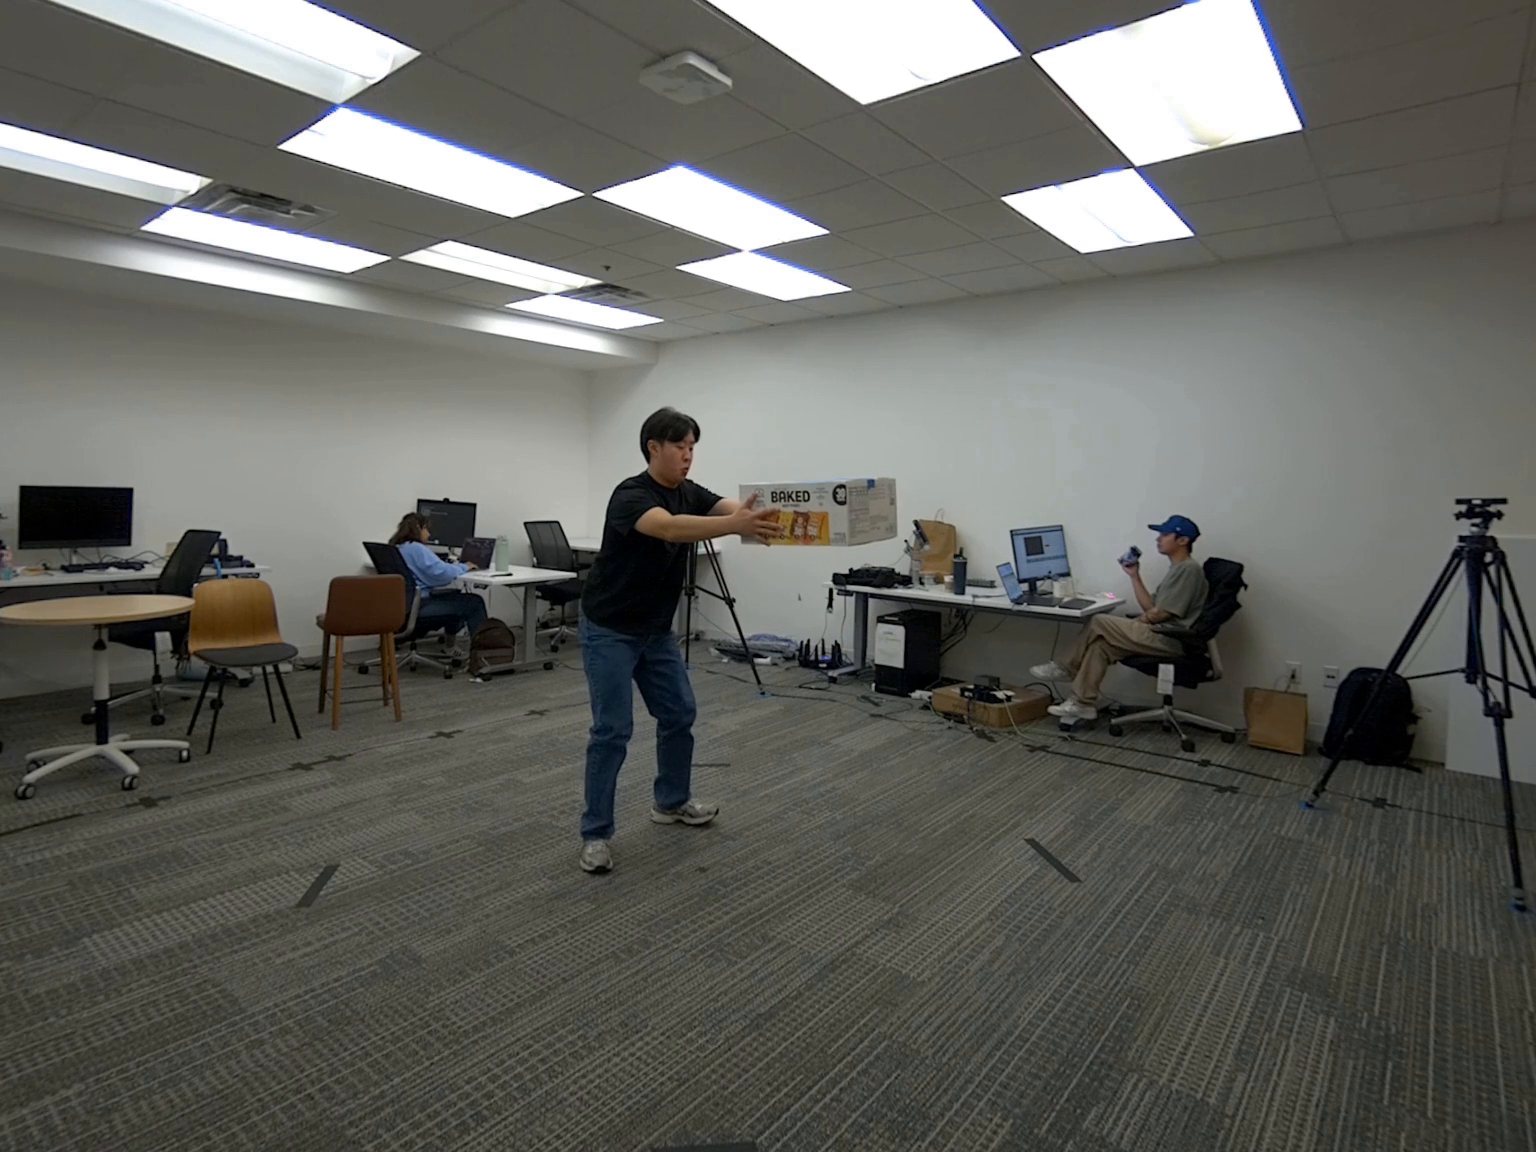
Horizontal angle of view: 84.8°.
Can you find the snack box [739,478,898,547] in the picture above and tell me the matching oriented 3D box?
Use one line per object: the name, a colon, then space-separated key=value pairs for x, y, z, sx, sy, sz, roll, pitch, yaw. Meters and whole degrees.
snack box: x=0.161 y=-0.210 z=2.838 sx=0.418 sy=0.204 sz=0.332 roll=2 pitch=8 yaw=35
